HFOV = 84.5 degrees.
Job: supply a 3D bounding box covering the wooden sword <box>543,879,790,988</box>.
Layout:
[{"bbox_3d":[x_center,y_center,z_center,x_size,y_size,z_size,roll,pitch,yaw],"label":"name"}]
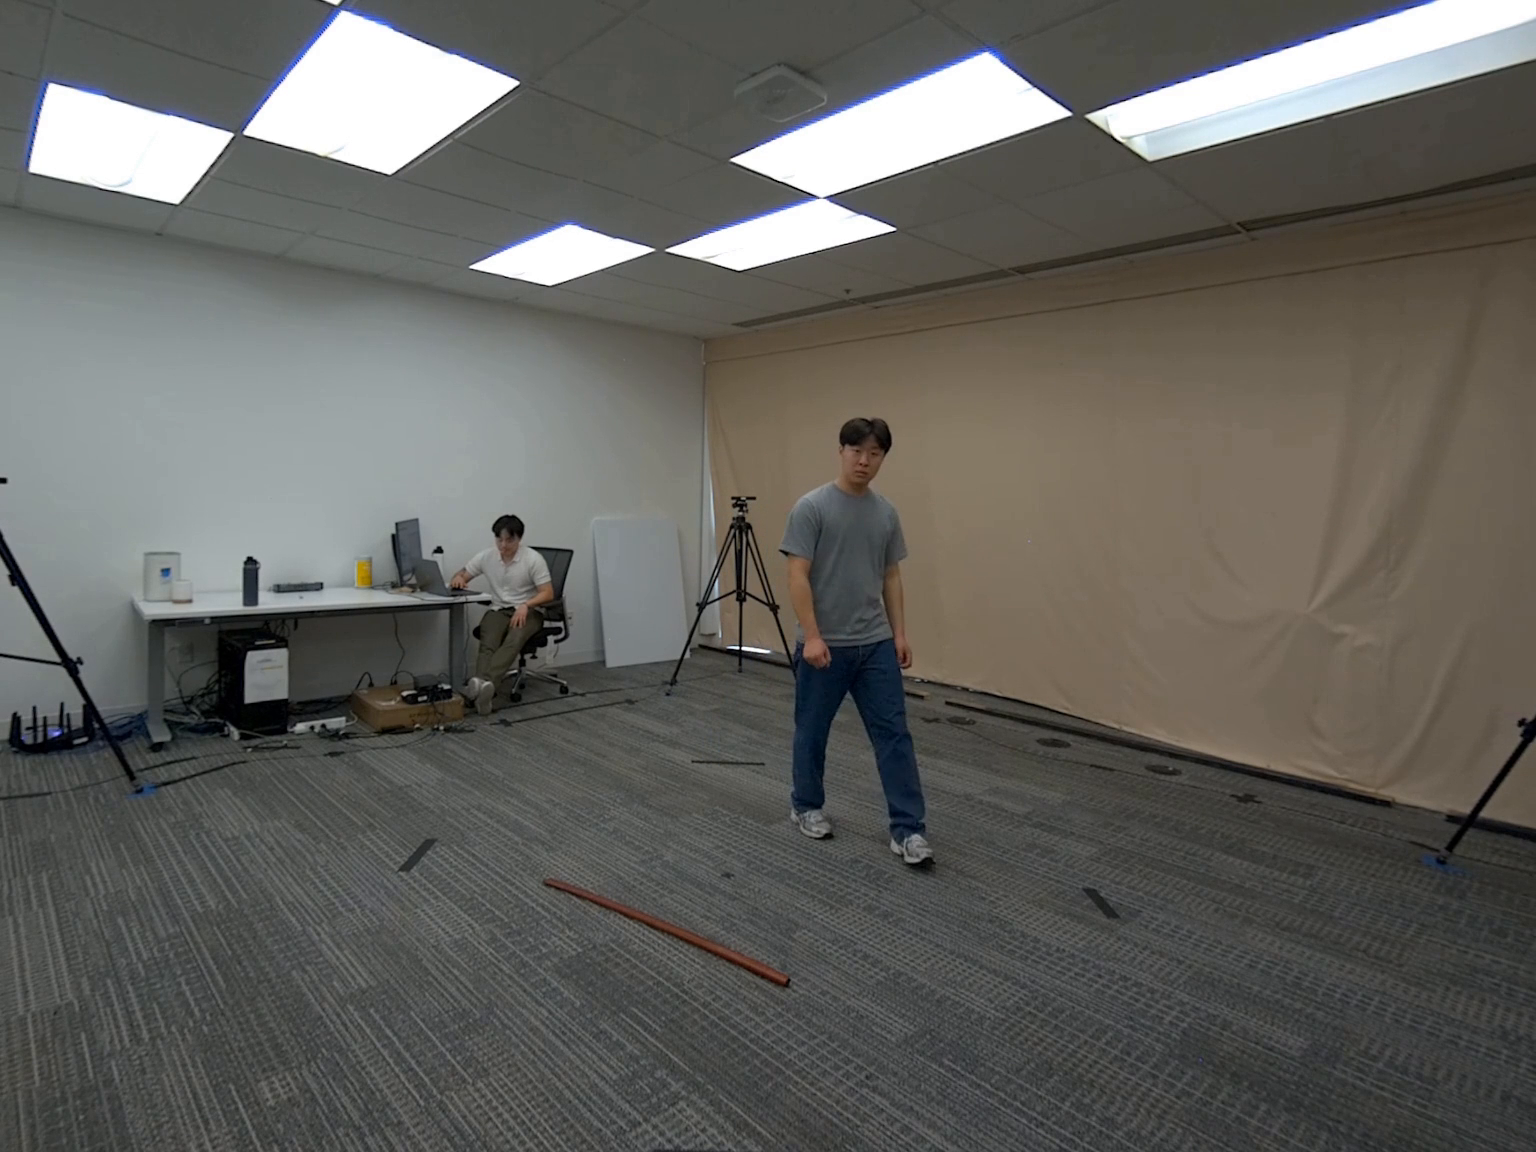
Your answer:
[{"bbox_3d":[-0.372,1.113,2.719,1.049,0.024,0.050,5,-18,35],"label":"wooden sword"}]
